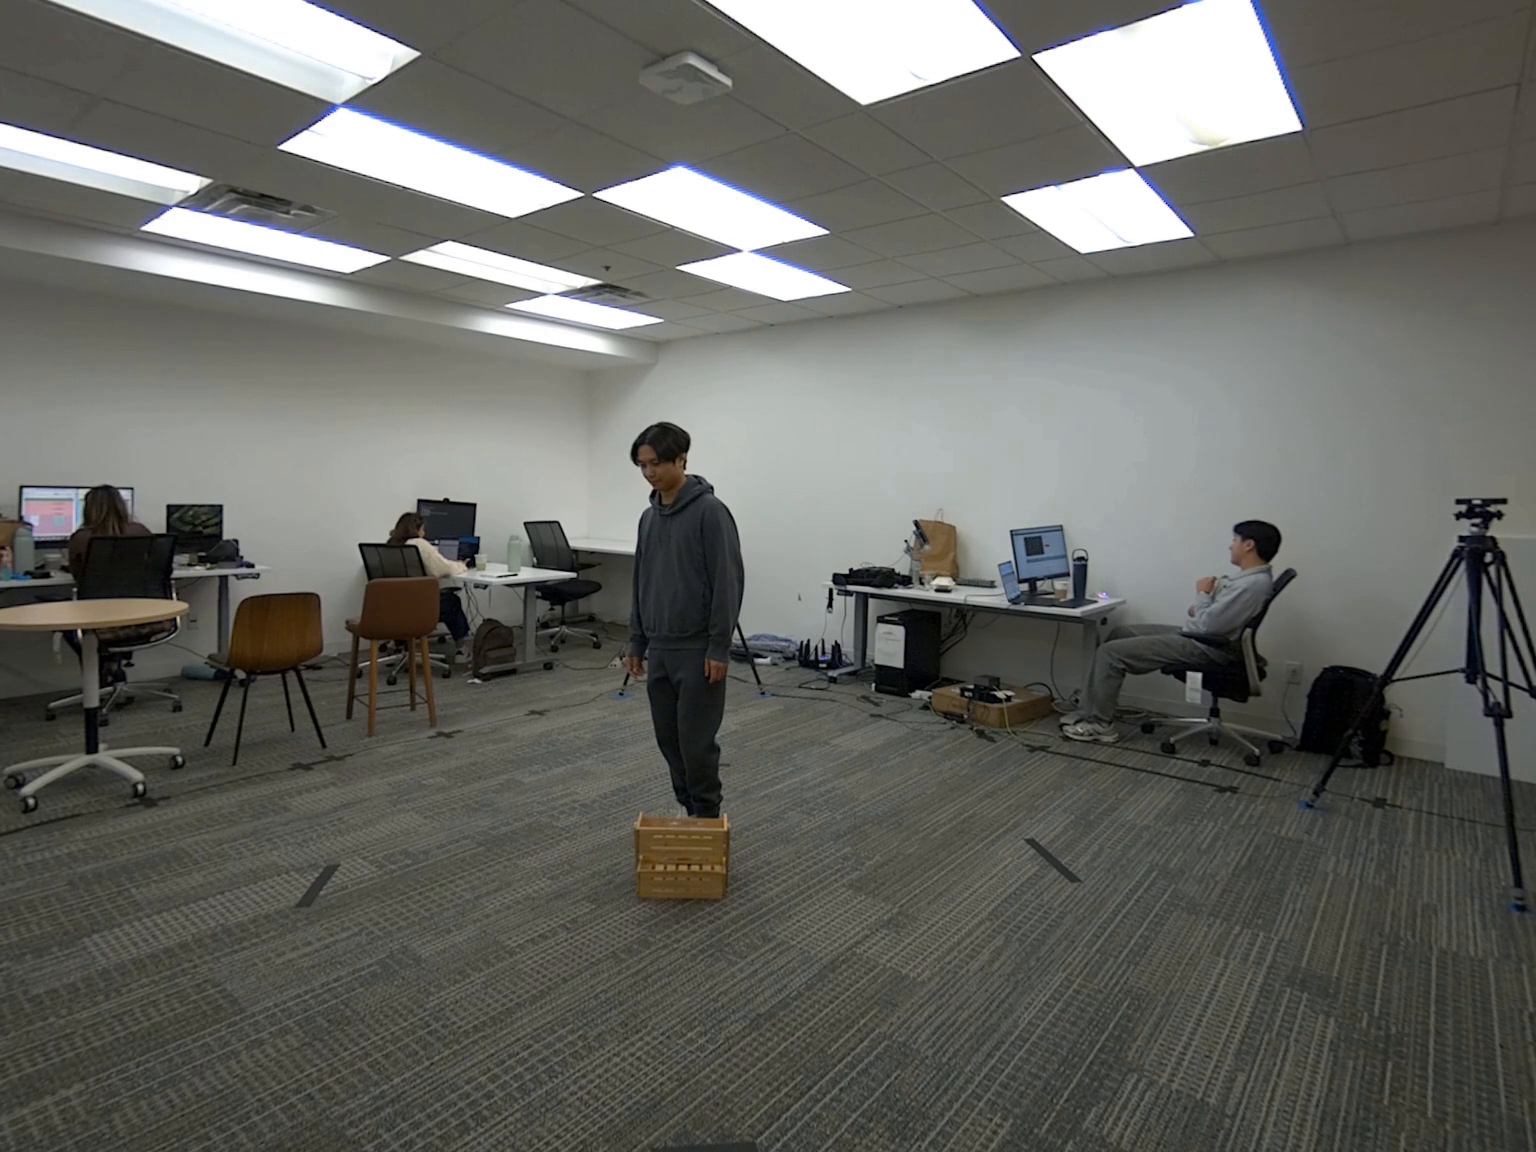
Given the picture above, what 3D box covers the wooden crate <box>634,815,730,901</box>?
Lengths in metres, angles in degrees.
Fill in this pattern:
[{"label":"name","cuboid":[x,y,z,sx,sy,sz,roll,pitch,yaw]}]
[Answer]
[{"label":"wooden crate","cuboid":[-0.311,0.949,2.980,0.324,0.272,0.304,1,5,-2]}]
